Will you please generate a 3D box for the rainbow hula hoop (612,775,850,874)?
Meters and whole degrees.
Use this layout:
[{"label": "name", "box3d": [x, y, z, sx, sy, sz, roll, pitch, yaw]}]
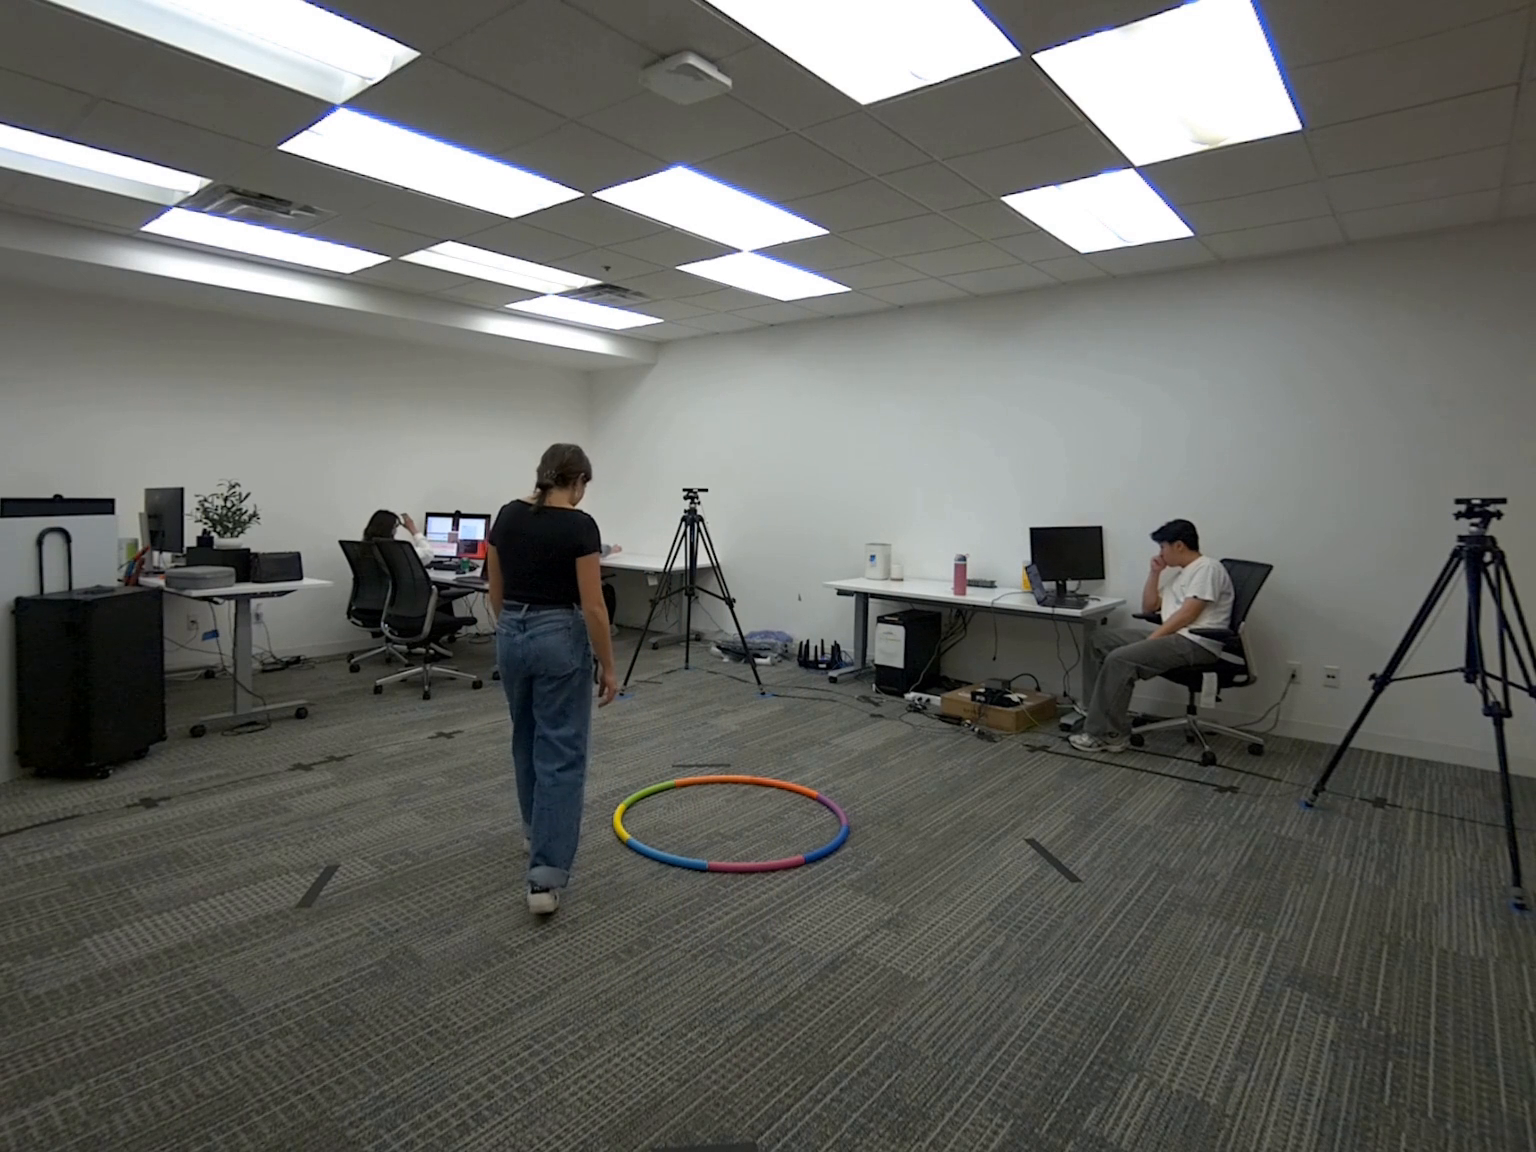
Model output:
[{"label": "rainbow hula hoop", "box3d": [-0.152, 0.993, 3.564, 0.978, 0.035, 0.984, 1, 6, -2]}]
